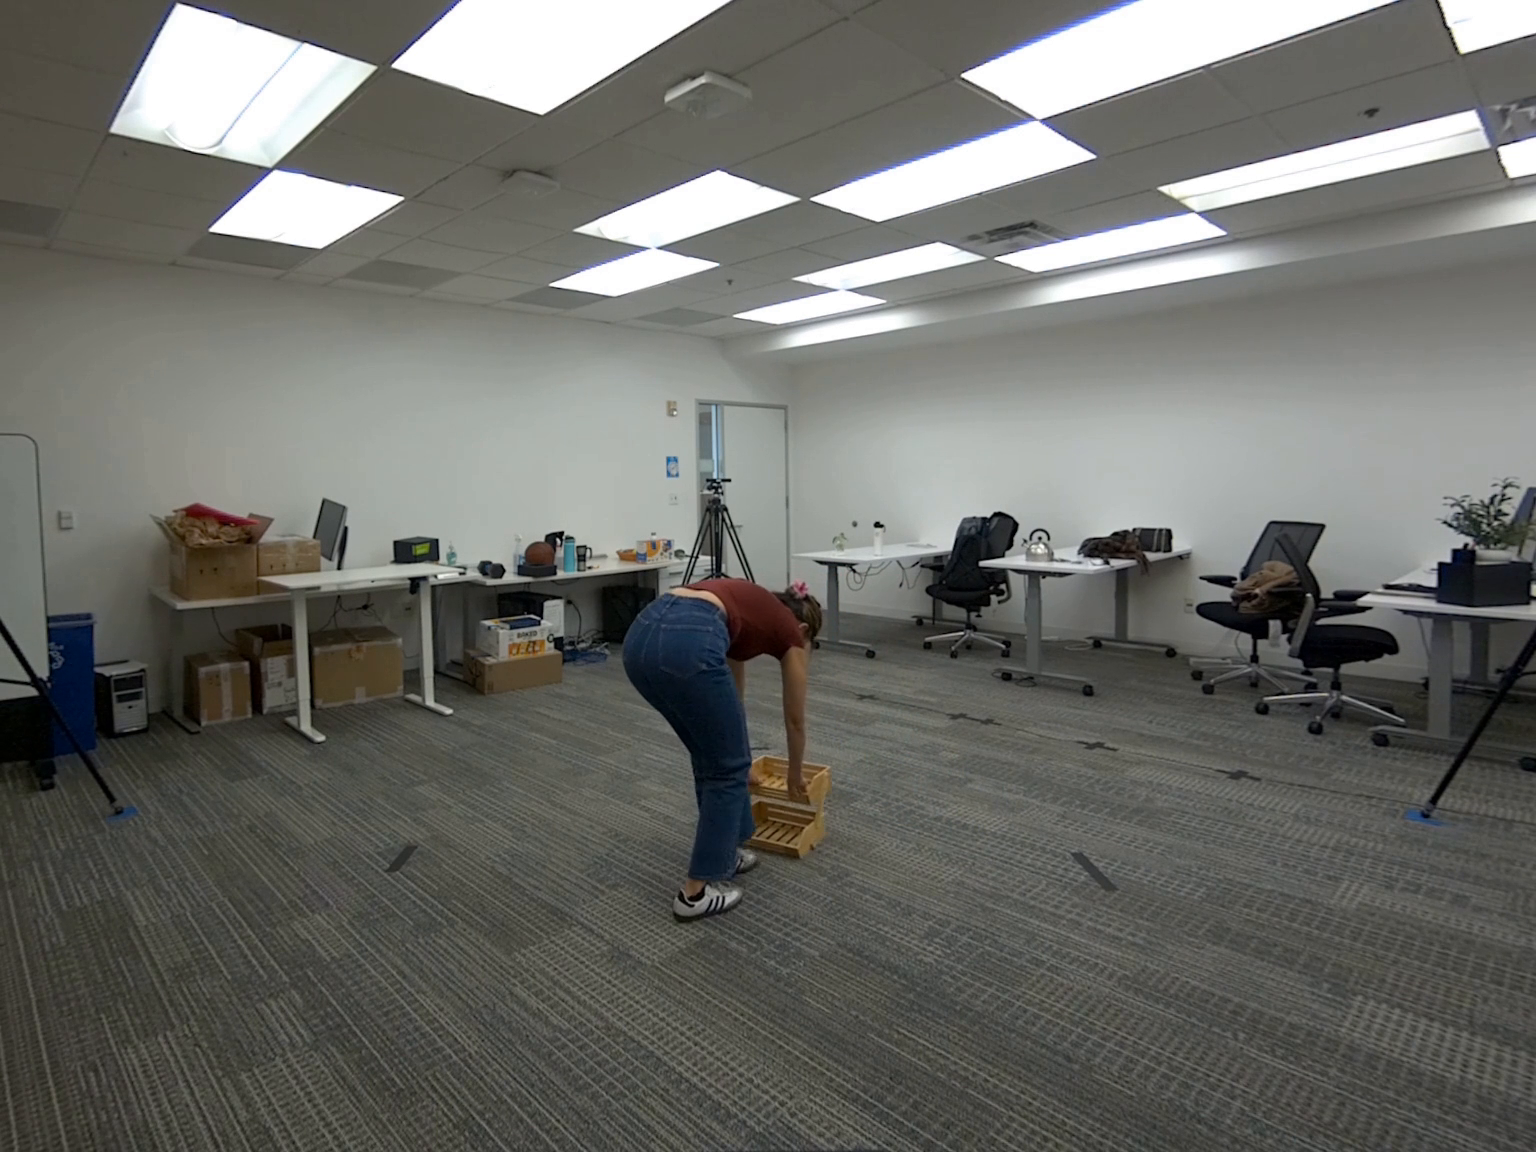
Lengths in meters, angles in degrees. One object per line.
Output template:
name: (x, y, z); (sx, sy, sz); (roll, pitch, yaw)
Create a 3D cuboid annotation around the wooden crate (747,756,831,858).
wooden crate: (0.051, 0.885, 3.316); (0.333, 0.272, 0.295); (2, 6, 30)
